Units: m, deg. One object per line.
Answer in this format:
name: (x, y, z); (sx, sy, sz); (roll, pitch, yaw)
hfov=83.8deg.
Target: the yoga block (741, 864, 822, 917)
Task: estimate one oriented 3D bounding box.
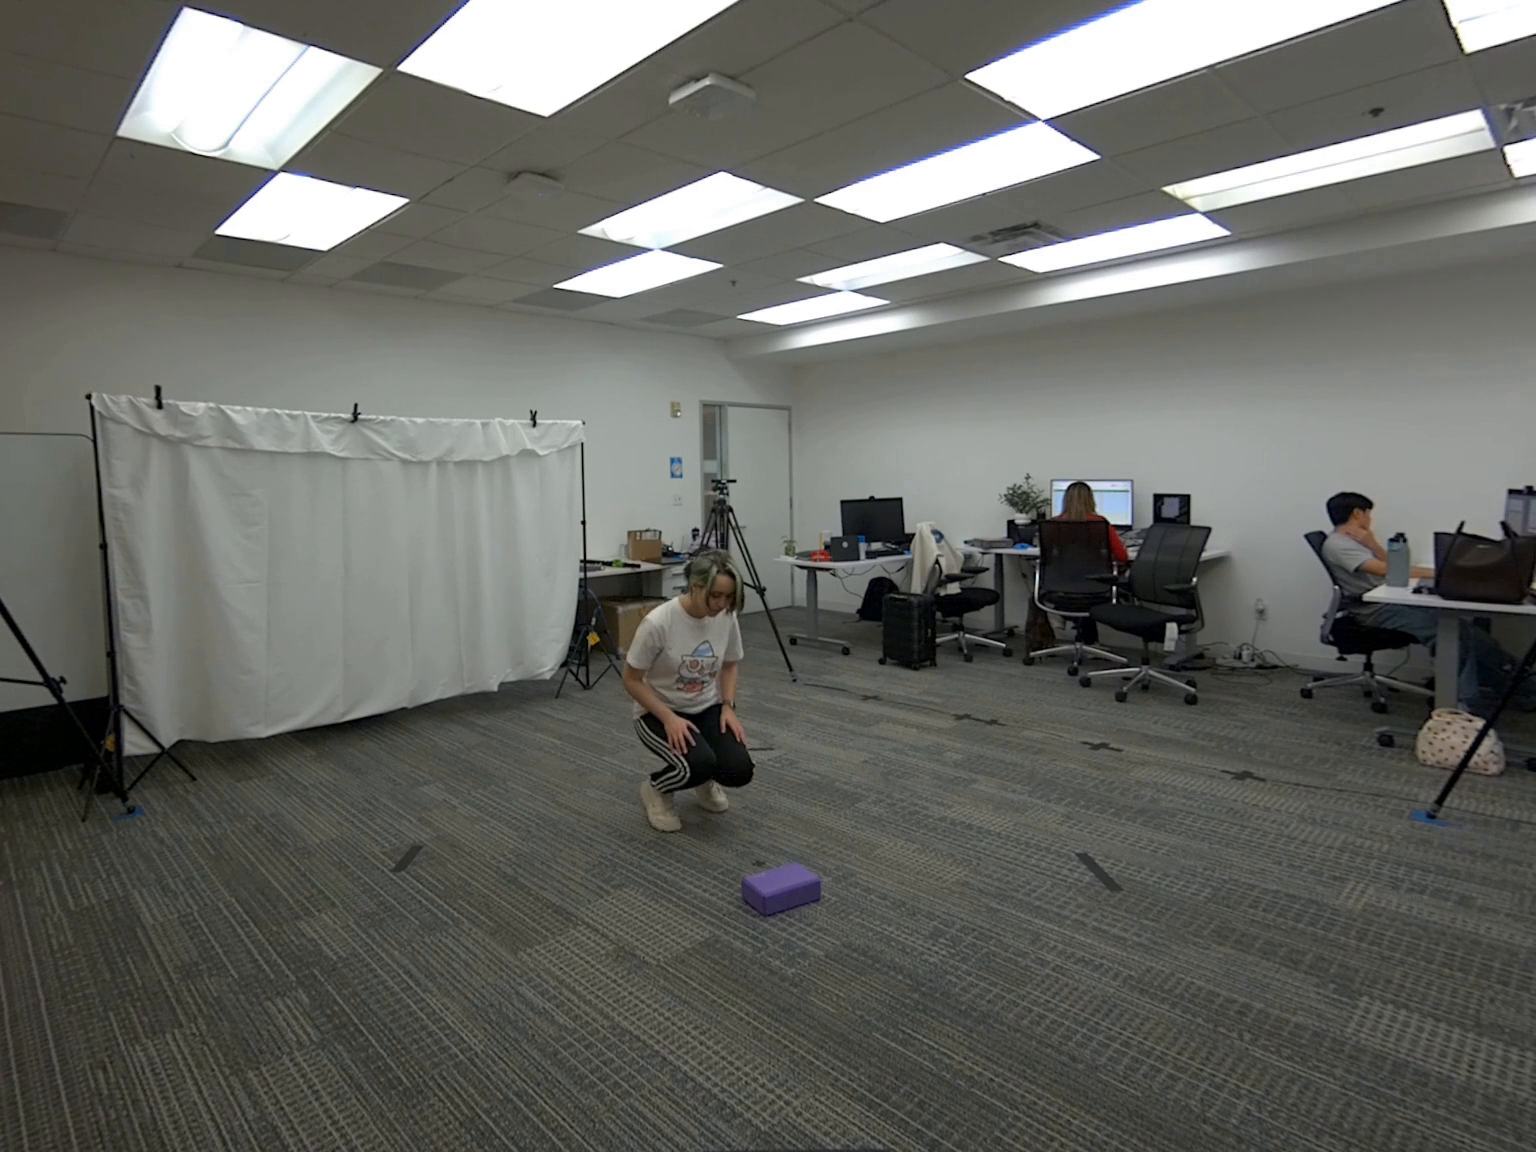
yoga block: (0.046, 1.034, 2.837); (0.224, 0.076, 0.153); (-3, 7, -30)
